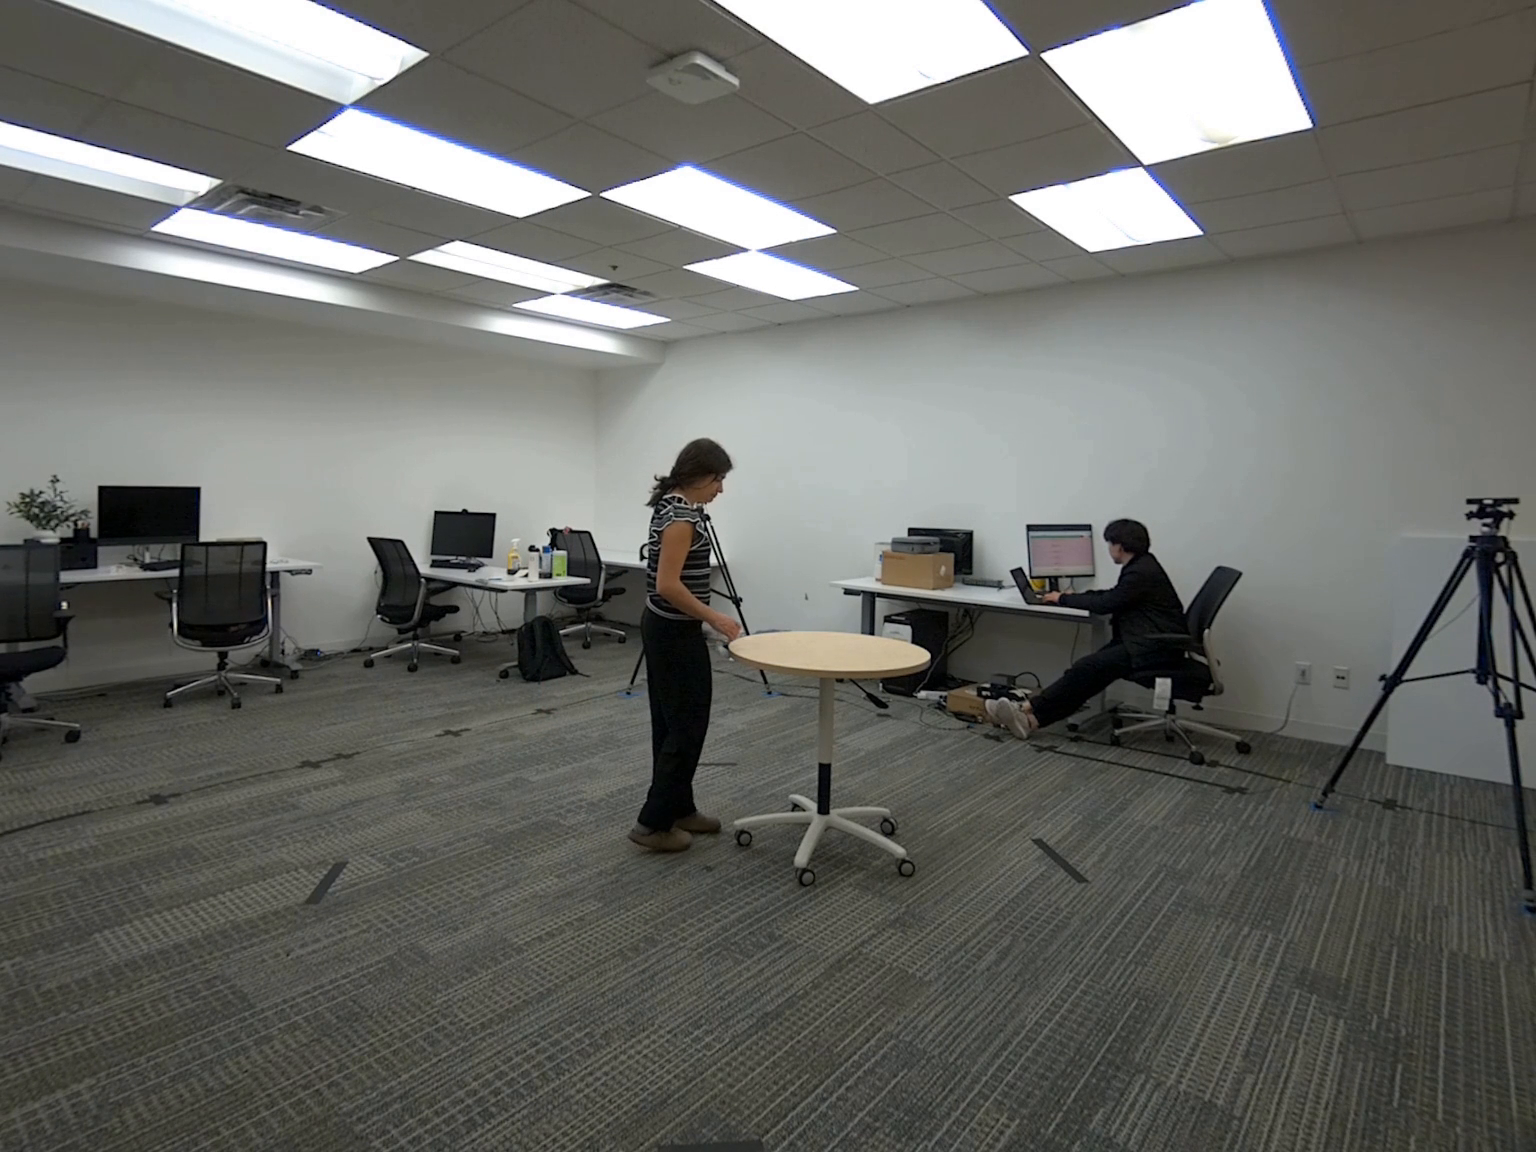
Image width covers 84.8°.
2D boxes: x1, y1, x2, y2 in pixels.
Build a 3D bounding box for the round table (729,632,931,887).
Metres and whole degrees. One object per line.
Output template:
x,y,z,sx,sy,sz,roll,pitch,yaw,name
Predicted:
0.221,0.671,3.291,0.763,0.791,0.768,1,5,-2,round table
